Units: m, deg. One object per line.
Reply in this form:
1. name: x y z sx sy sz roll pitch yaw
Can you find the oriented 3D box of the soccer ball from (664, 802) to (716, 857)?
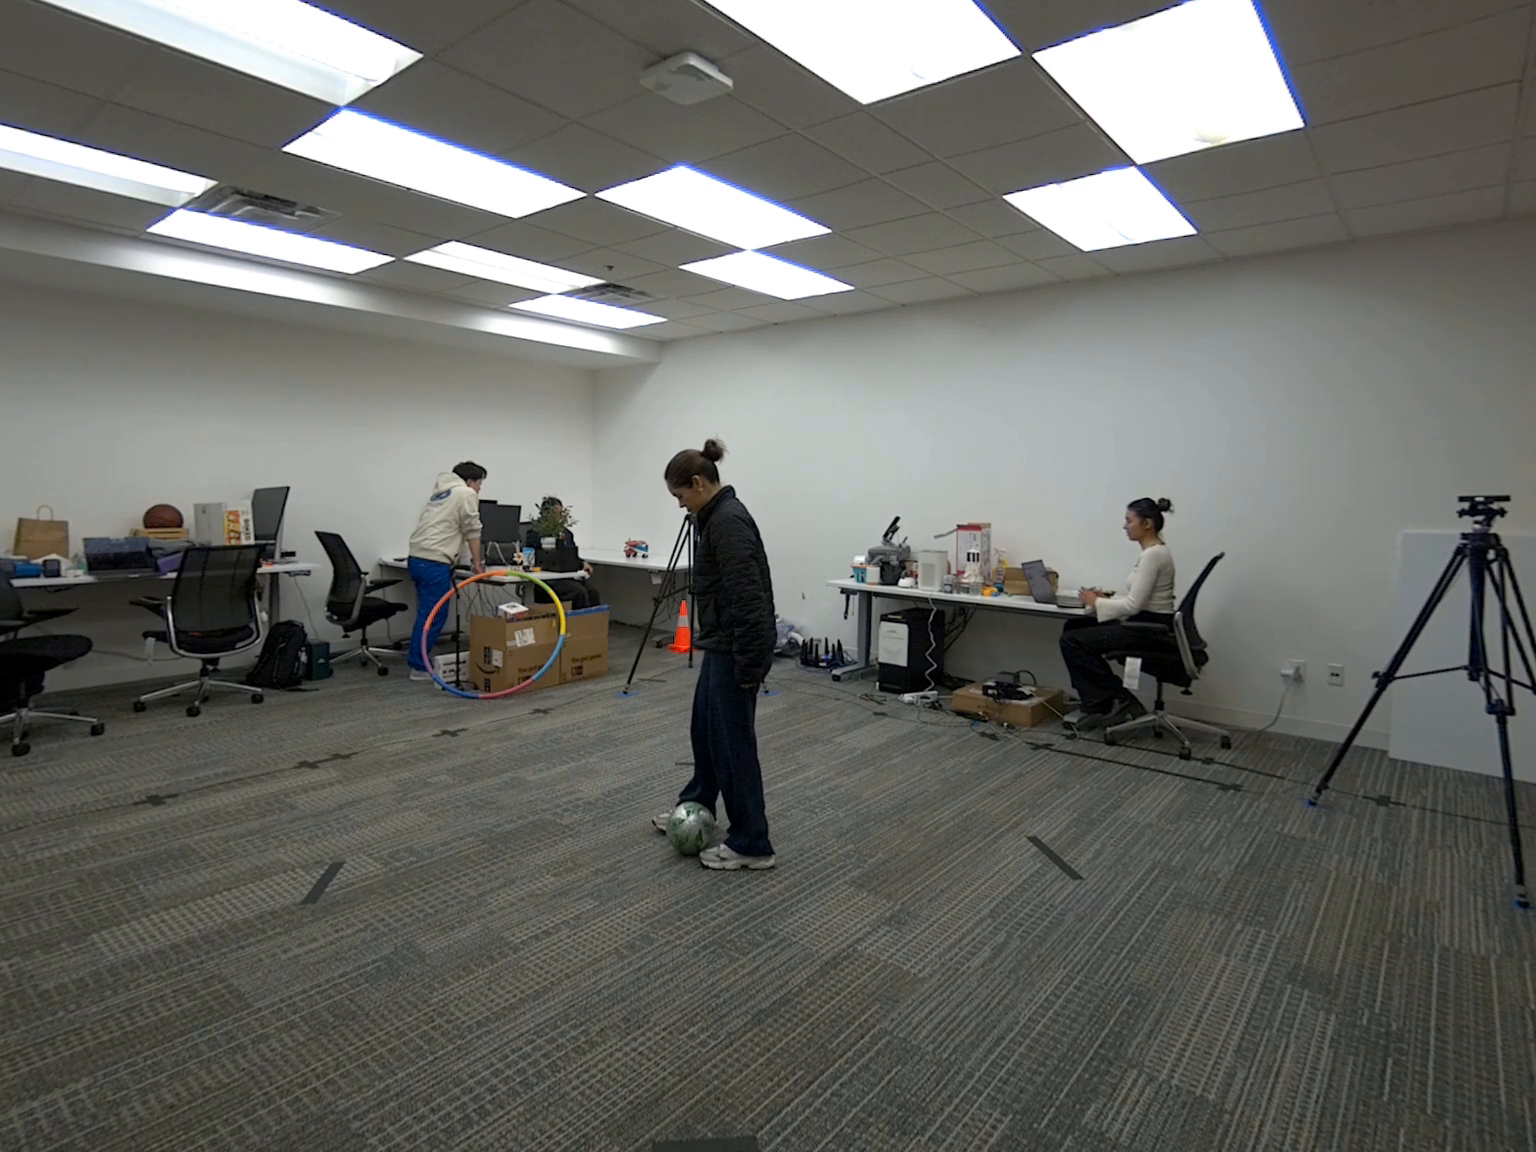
1. soccer ball: -0.310 0.958 3.245 0.187 0.187 0.188 1 4 -2
